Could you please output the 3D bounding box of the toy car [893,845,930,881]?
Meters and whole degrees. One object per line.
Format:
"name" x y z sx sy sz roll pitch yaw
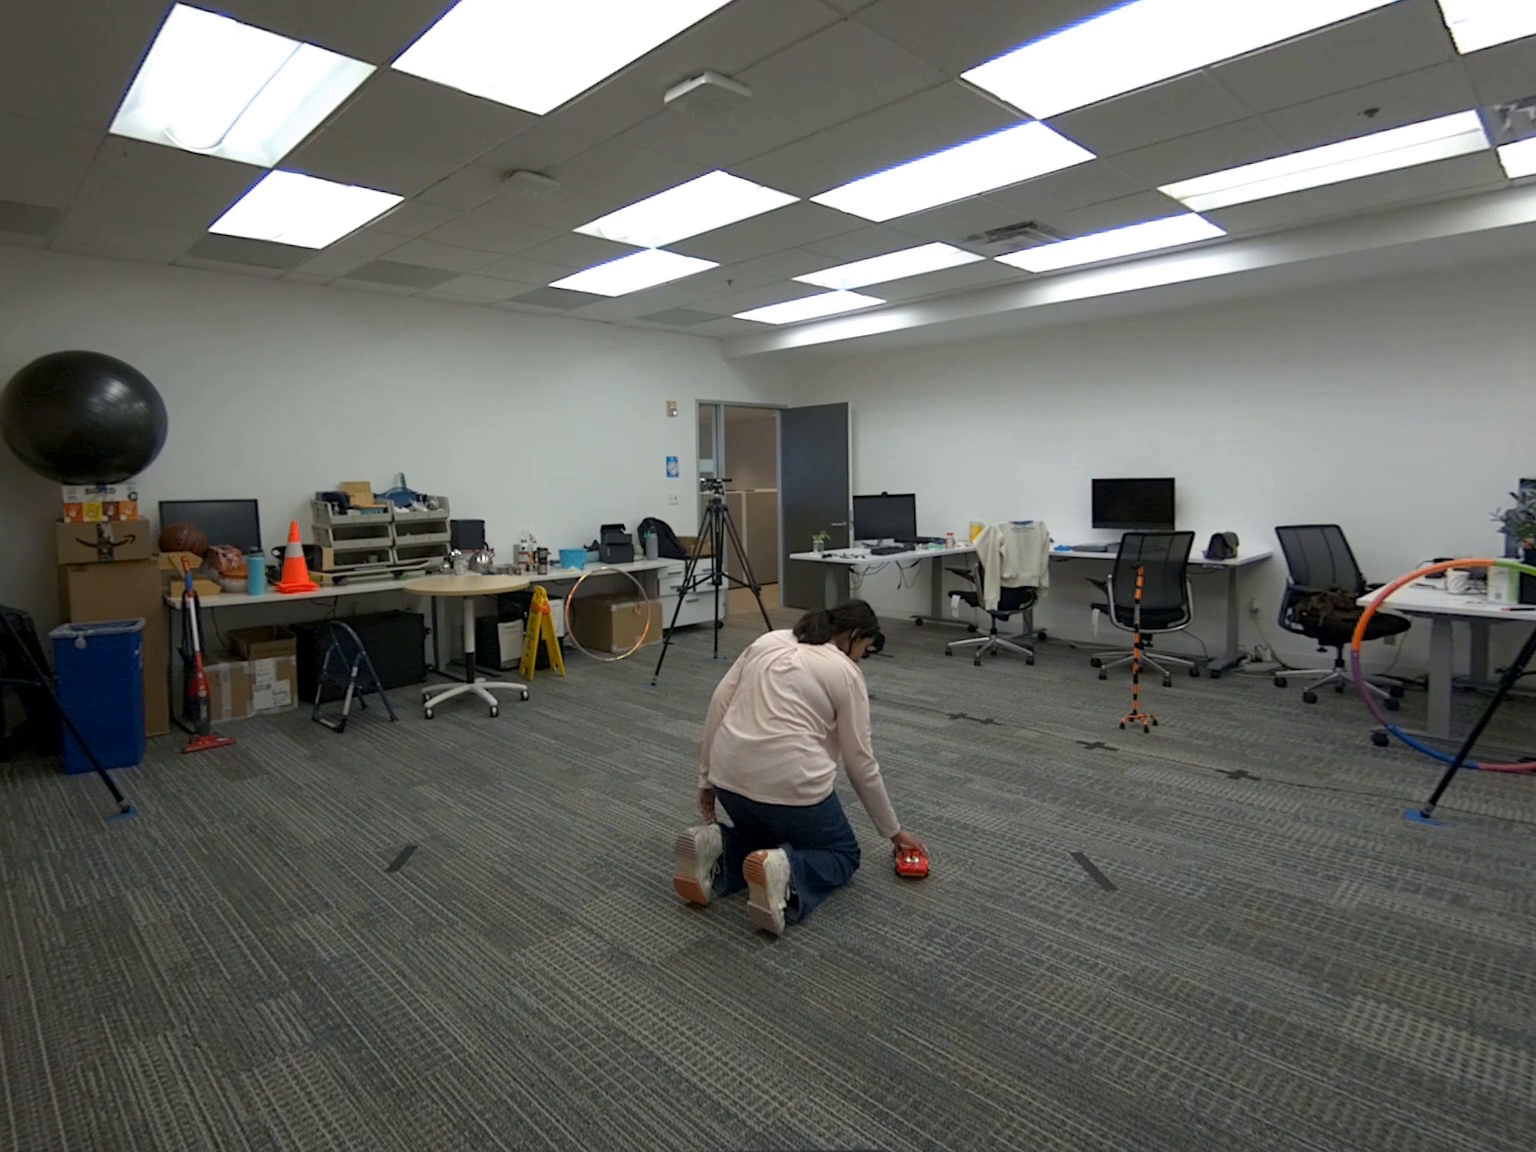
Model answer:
"toy car" 0.506 1.006 3.037 0.131 0.083 0.251 0 -5 7
